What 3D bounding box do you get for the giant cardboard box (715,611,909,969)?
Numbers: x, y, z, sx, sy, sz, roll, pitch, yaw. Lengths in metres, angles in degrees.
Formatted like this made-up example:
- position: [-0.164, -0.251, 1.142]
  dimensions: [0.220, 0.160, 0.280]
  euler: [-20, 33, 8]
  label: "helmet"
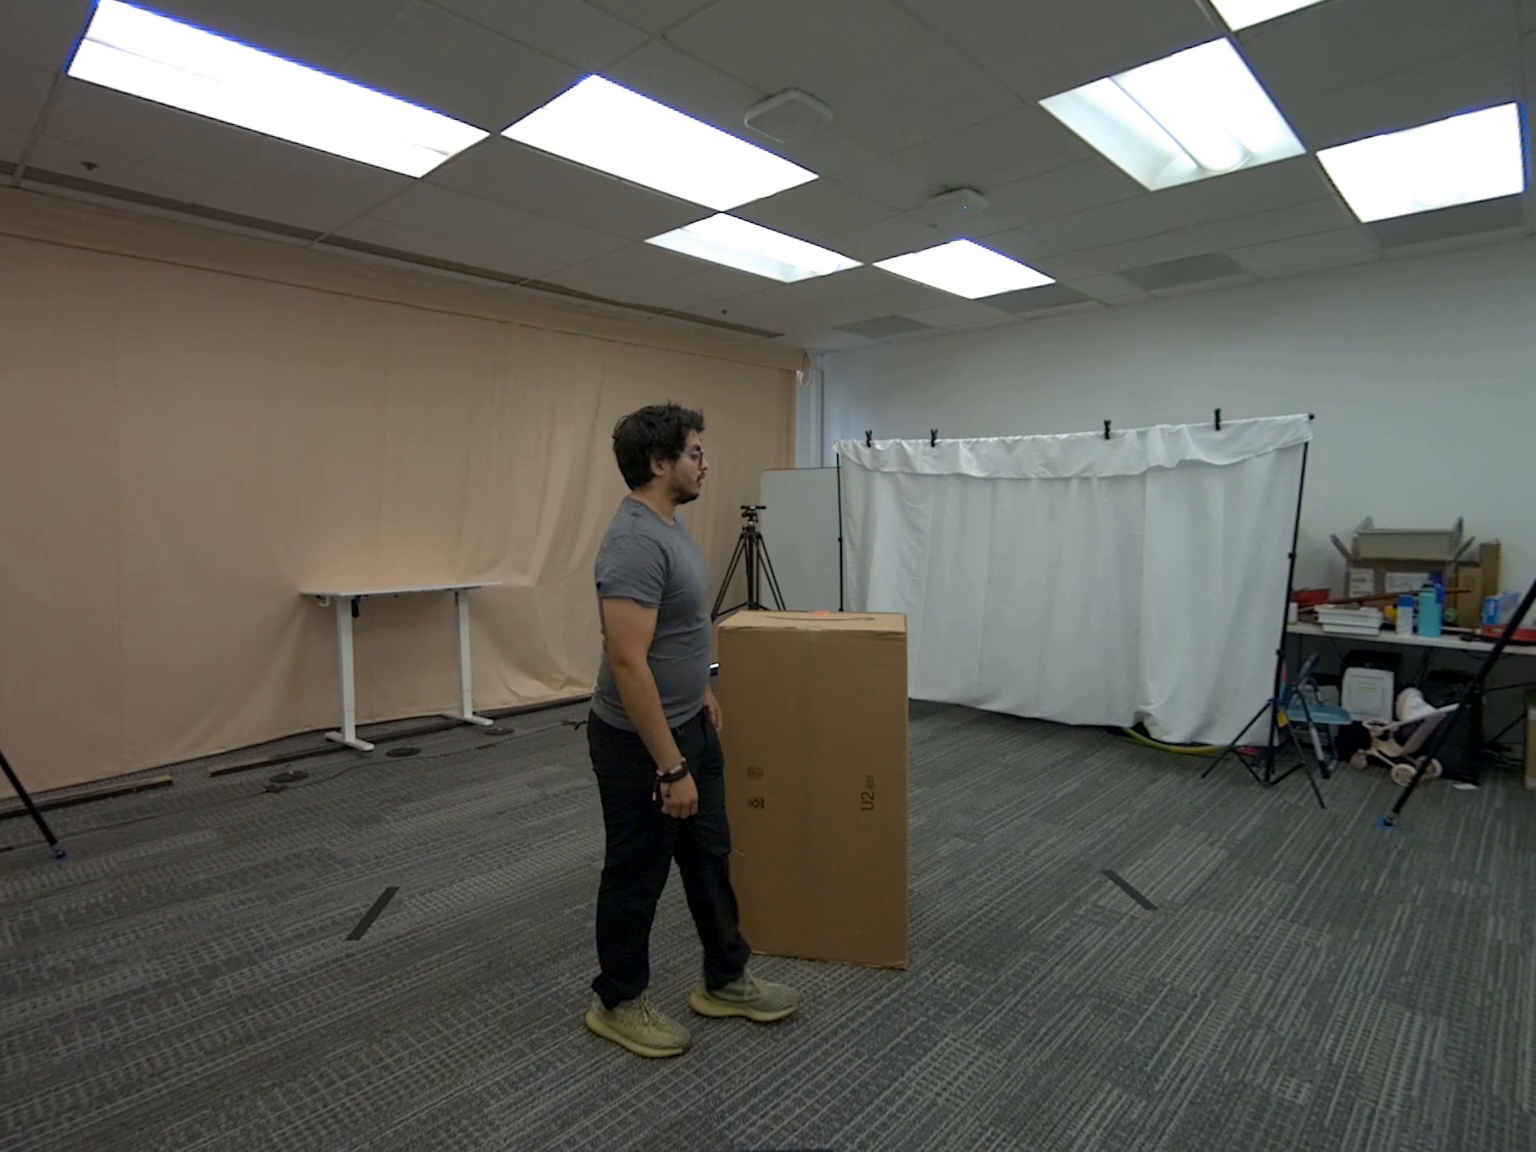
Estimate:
- position: [0.169, 0.650, 2.766]
  dimensions: [0.585, 1.024, 0.421]
  euler: [0, 3, 12]
  label: "giant cardboard box"
